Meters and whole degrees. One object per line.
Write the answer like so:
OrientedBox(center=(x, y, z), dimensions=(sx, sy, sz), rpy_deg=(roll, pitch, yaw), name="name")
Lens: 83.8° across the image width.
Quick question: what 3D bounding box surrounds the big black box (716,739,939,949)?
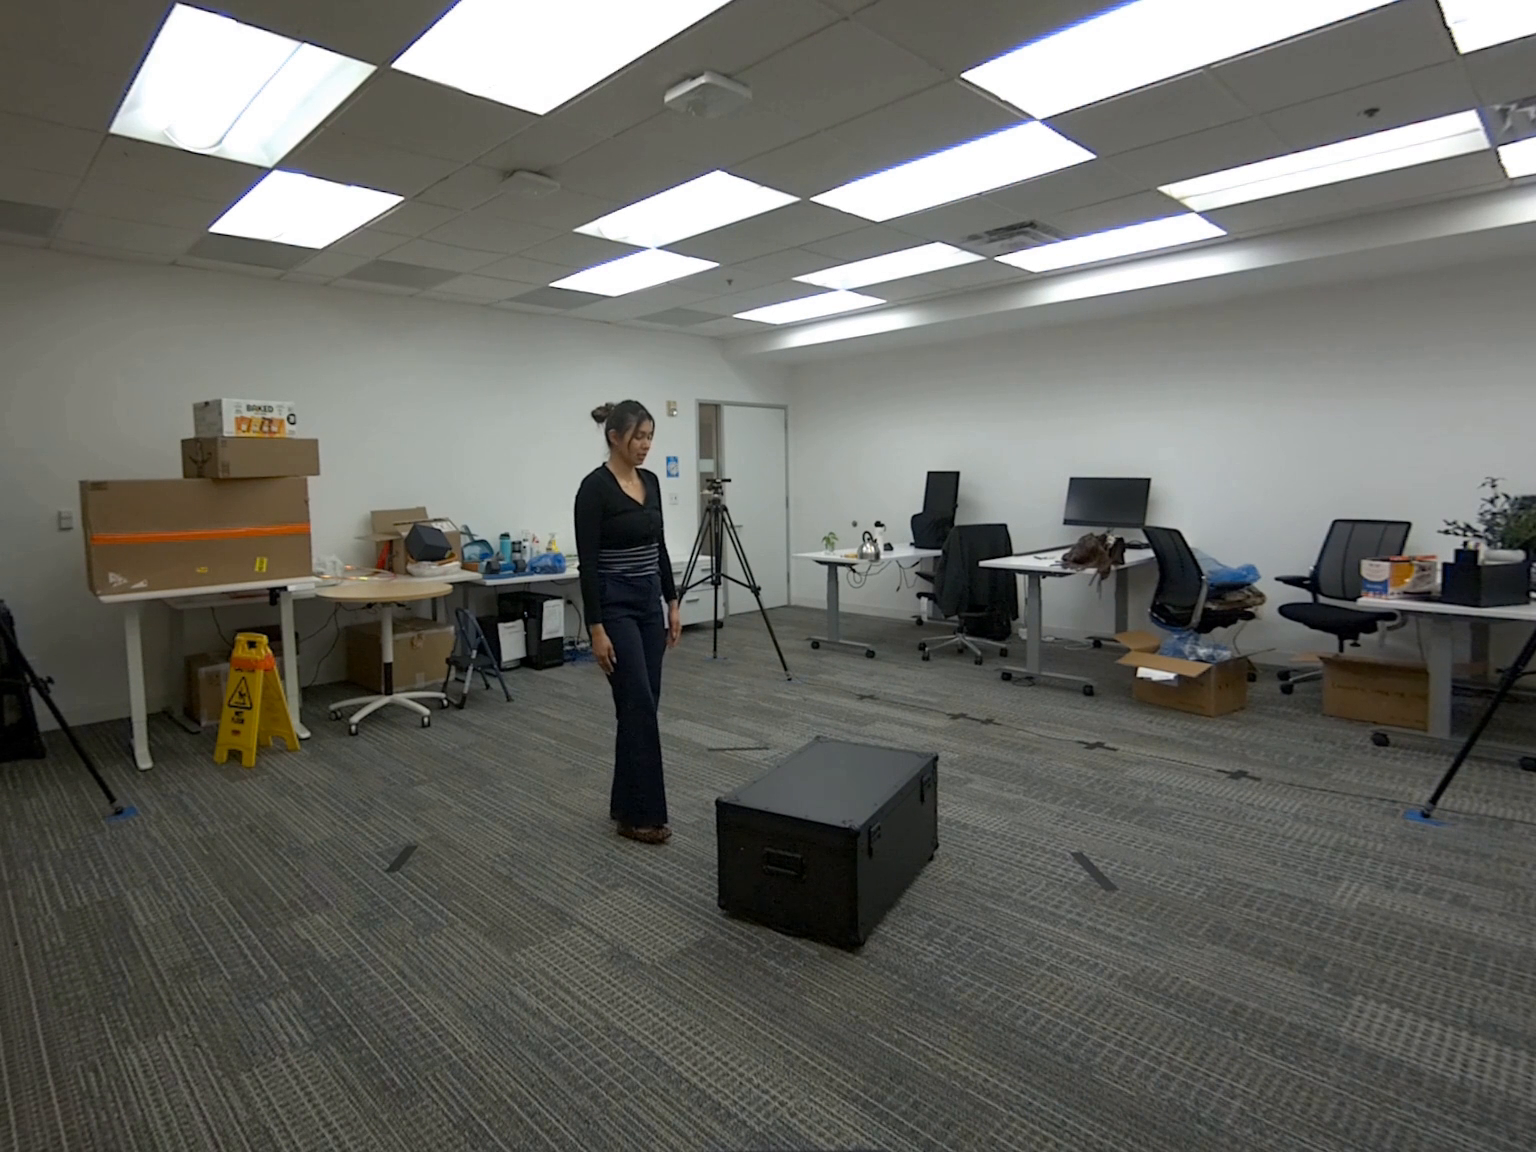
OrientedBox(center=(0.250, 0.865, 2.956), dimensions=(0.534, 0.394, 0.843), rpy_deg=(1, 7, 29), name="big black box")
